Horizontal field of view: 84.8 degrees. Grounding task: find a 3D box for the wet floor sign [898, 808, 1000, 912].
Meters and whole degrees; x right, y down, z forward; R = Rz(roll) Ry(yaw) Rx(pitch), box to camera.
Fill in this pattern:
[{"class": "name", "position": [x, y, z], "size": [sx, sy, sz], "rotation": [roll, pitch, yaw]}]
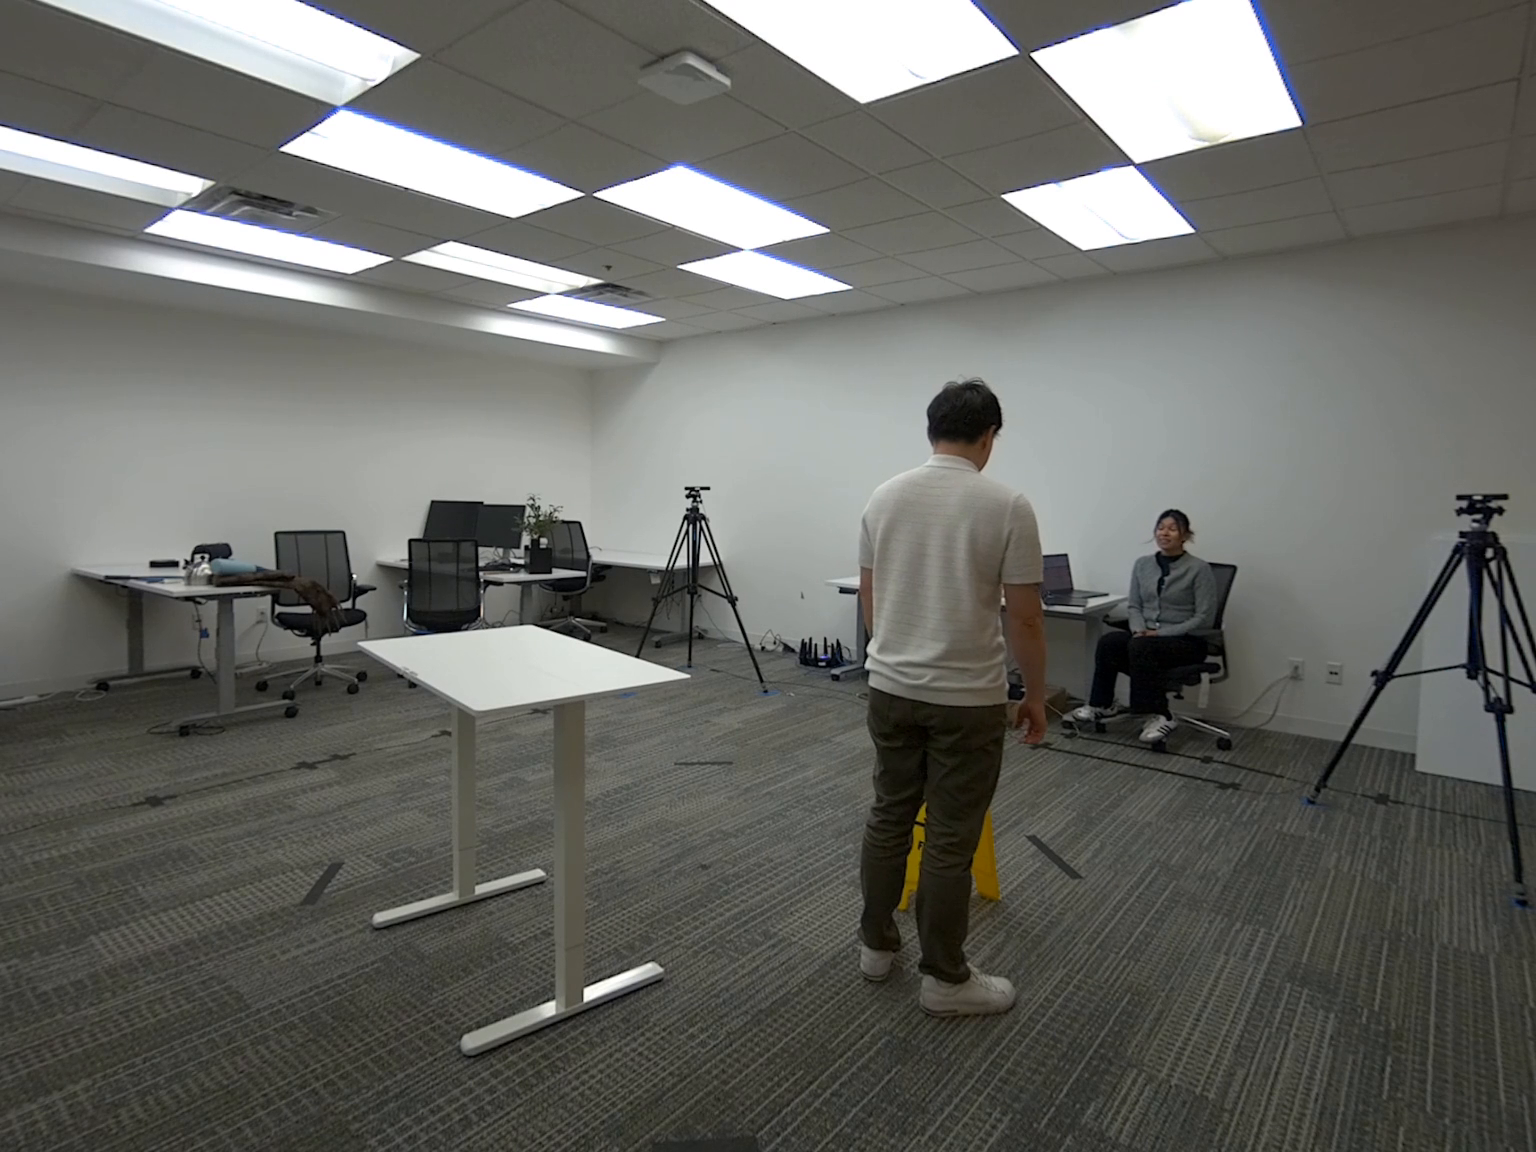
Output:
[{"class": "wet floor sign", "position": [0.590, 0.780, 2.865], "size": [0.292, 0.644, 0.281], "rotation": [4, 4, 38]}]
